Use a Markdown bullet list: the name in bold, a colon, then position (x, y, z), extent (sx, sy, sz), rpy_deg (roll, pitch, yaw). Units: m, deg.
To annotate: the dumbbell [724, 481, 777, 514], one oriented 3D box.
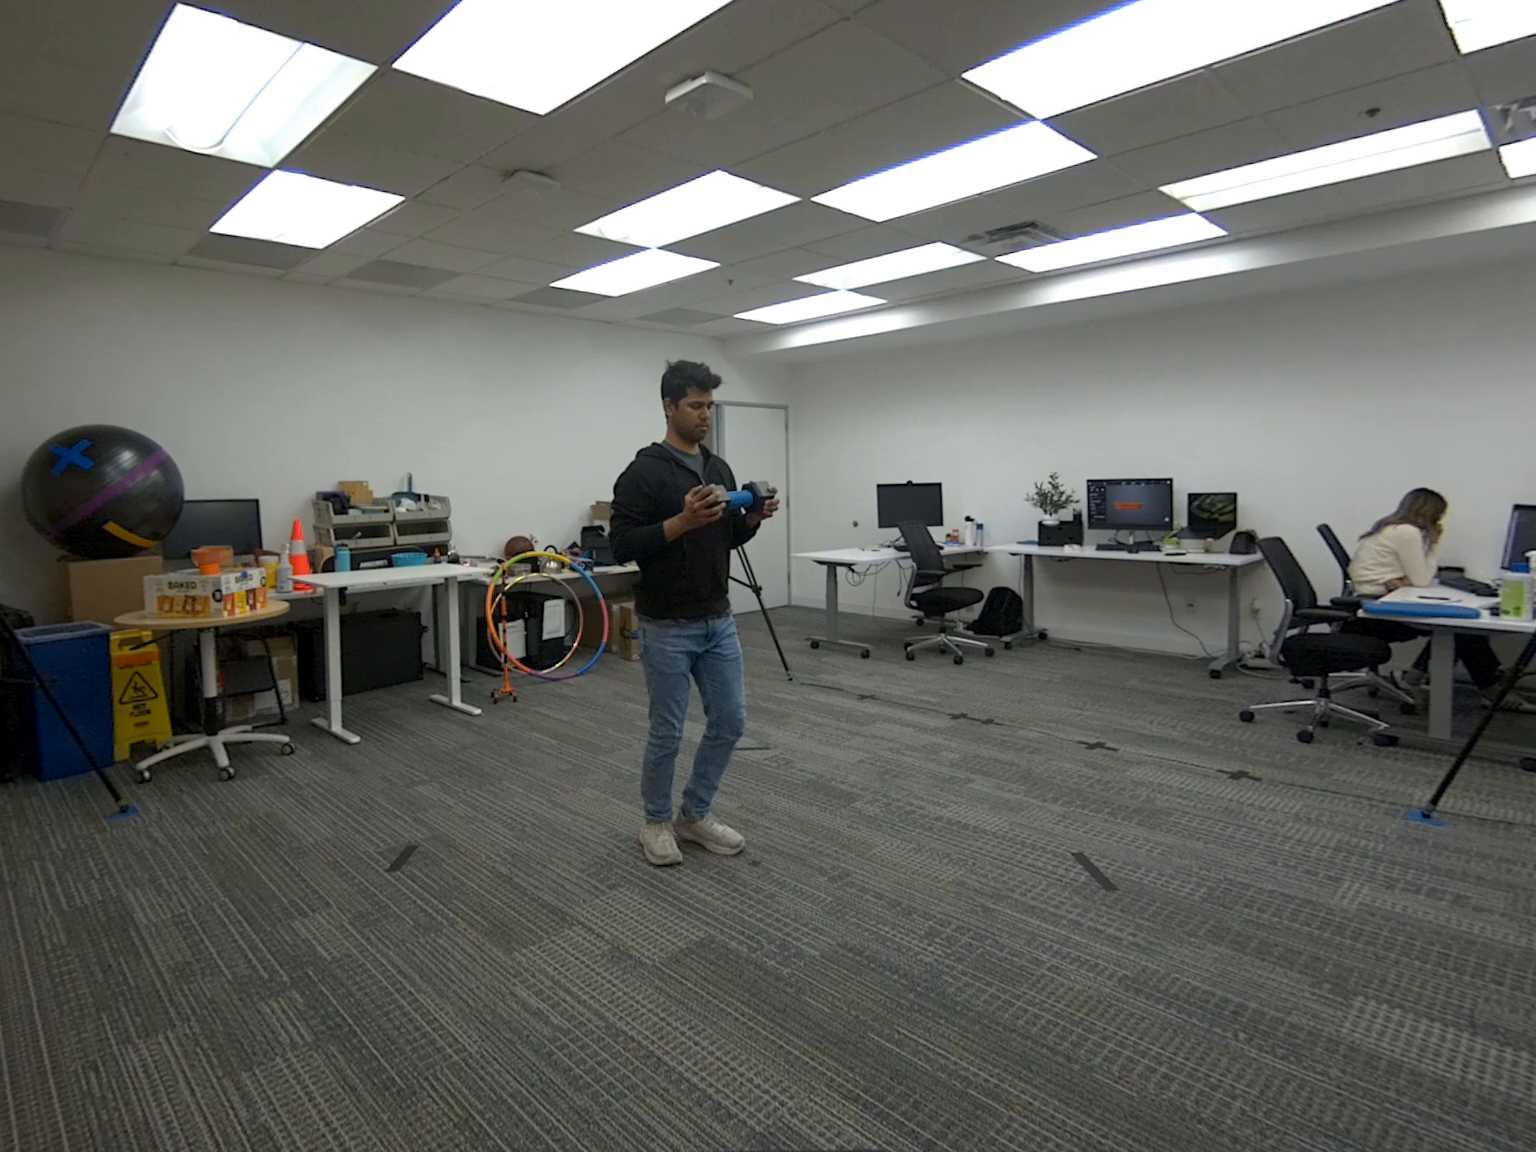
- **dumbbell**: position (-0.126, -0.256, 2.923), extent (0.286, 0.121, 0.113), rpy_deg (-11, 34, -43)
